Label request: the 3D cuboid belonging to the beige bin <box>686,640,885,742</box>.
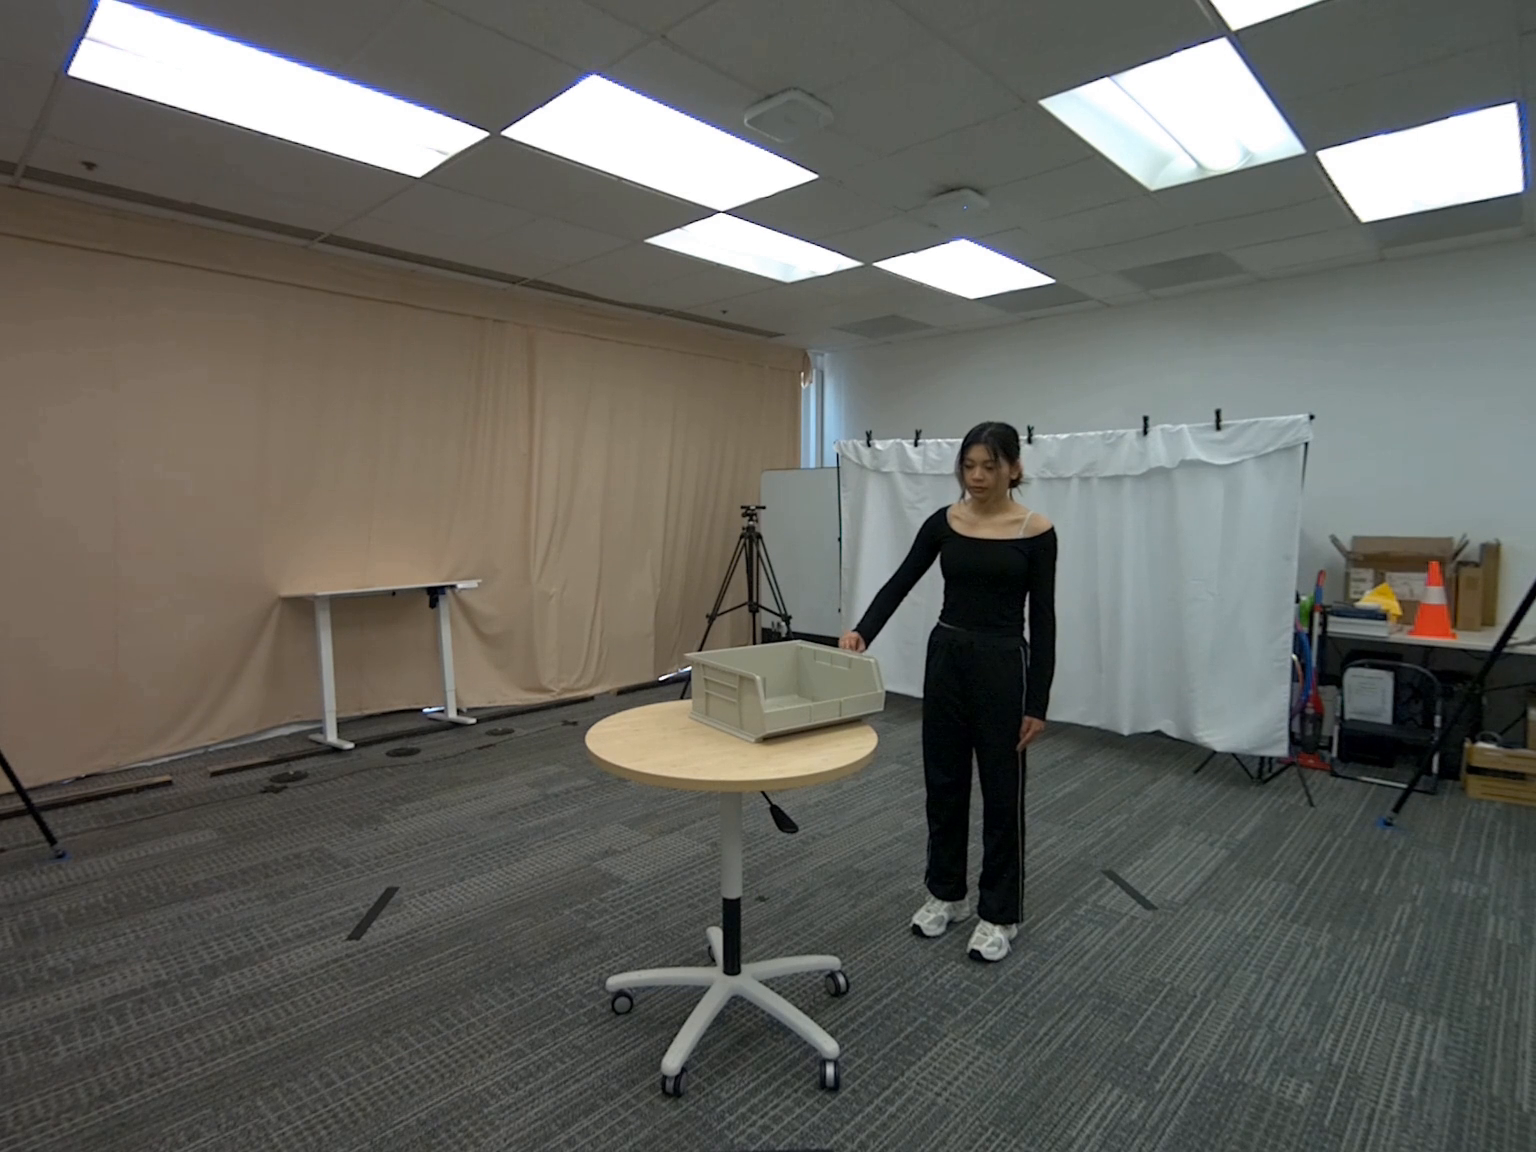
[{"bbox_3d":[0.051,0.316,2.350,0.410,0.188,0.389,-4,5,-35],"label":"beige bin"}]
